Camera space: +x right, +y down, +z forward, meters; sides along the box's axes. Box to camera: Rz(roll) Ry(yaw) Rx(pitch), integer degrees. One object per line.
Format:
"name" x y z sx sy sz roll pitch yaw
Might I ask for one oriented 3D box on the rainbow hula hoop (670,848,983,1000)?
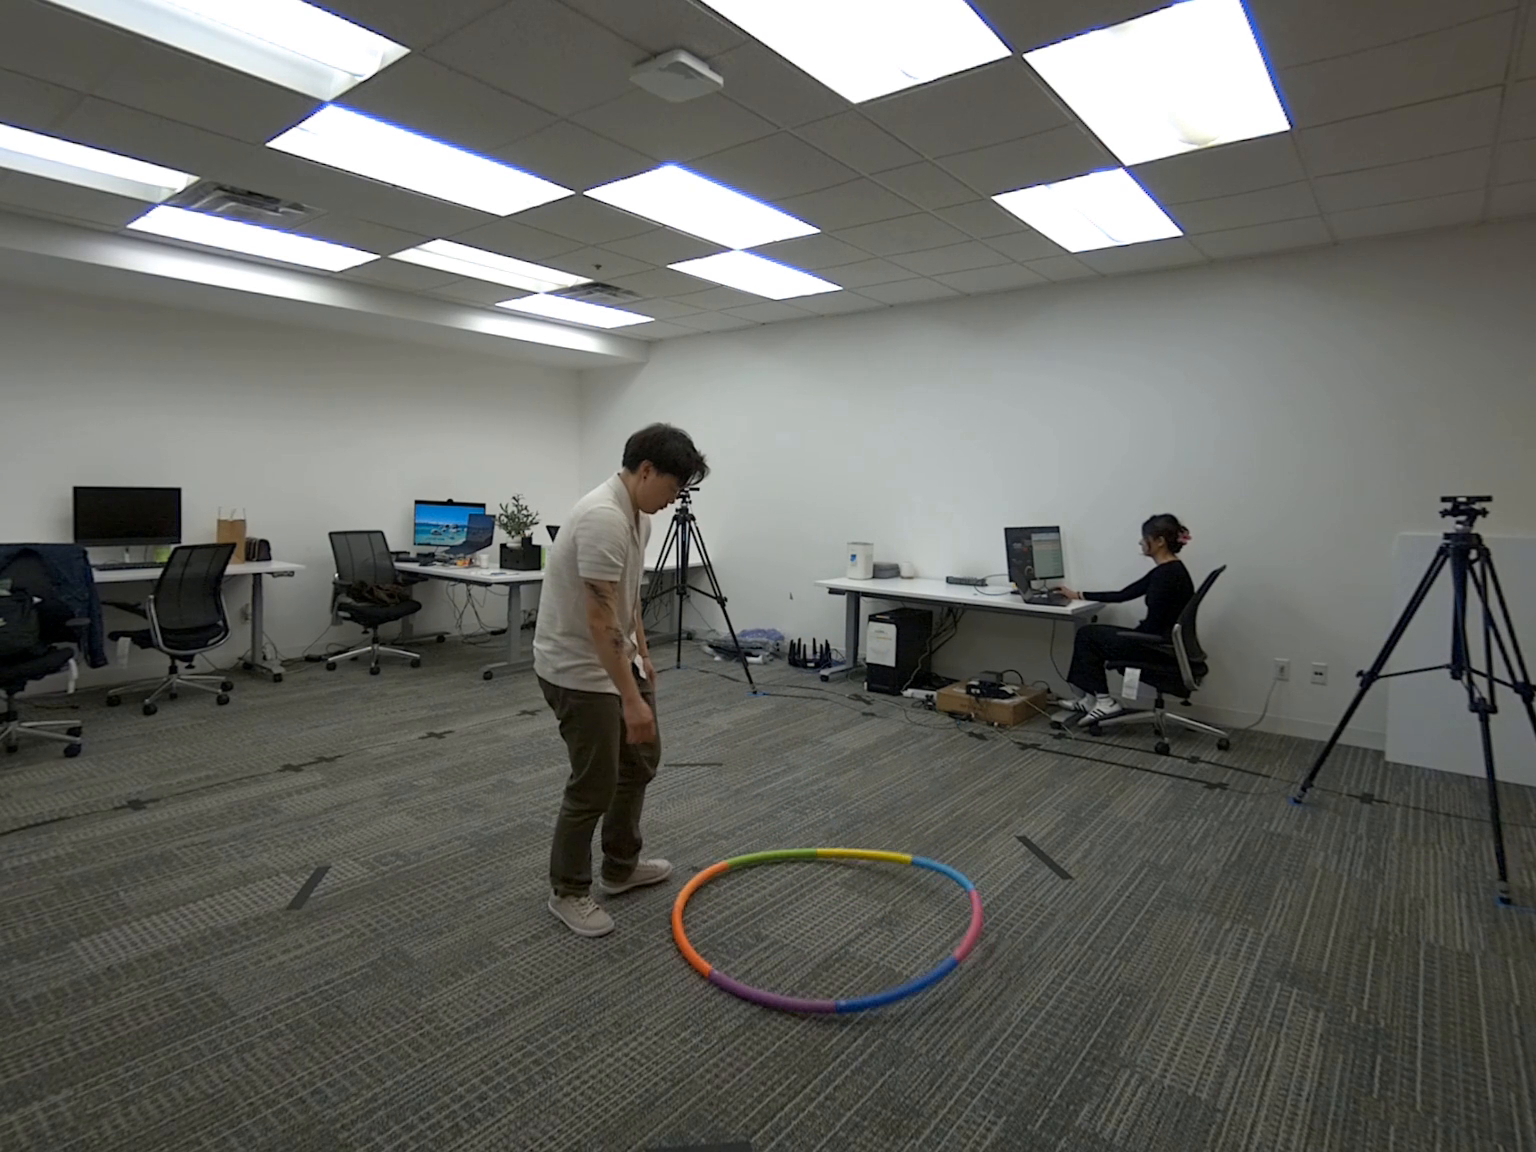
"rainbow hula hoop" 0.184 1.010 2.709 0.978 0.035 0.983 -3 5 -2
